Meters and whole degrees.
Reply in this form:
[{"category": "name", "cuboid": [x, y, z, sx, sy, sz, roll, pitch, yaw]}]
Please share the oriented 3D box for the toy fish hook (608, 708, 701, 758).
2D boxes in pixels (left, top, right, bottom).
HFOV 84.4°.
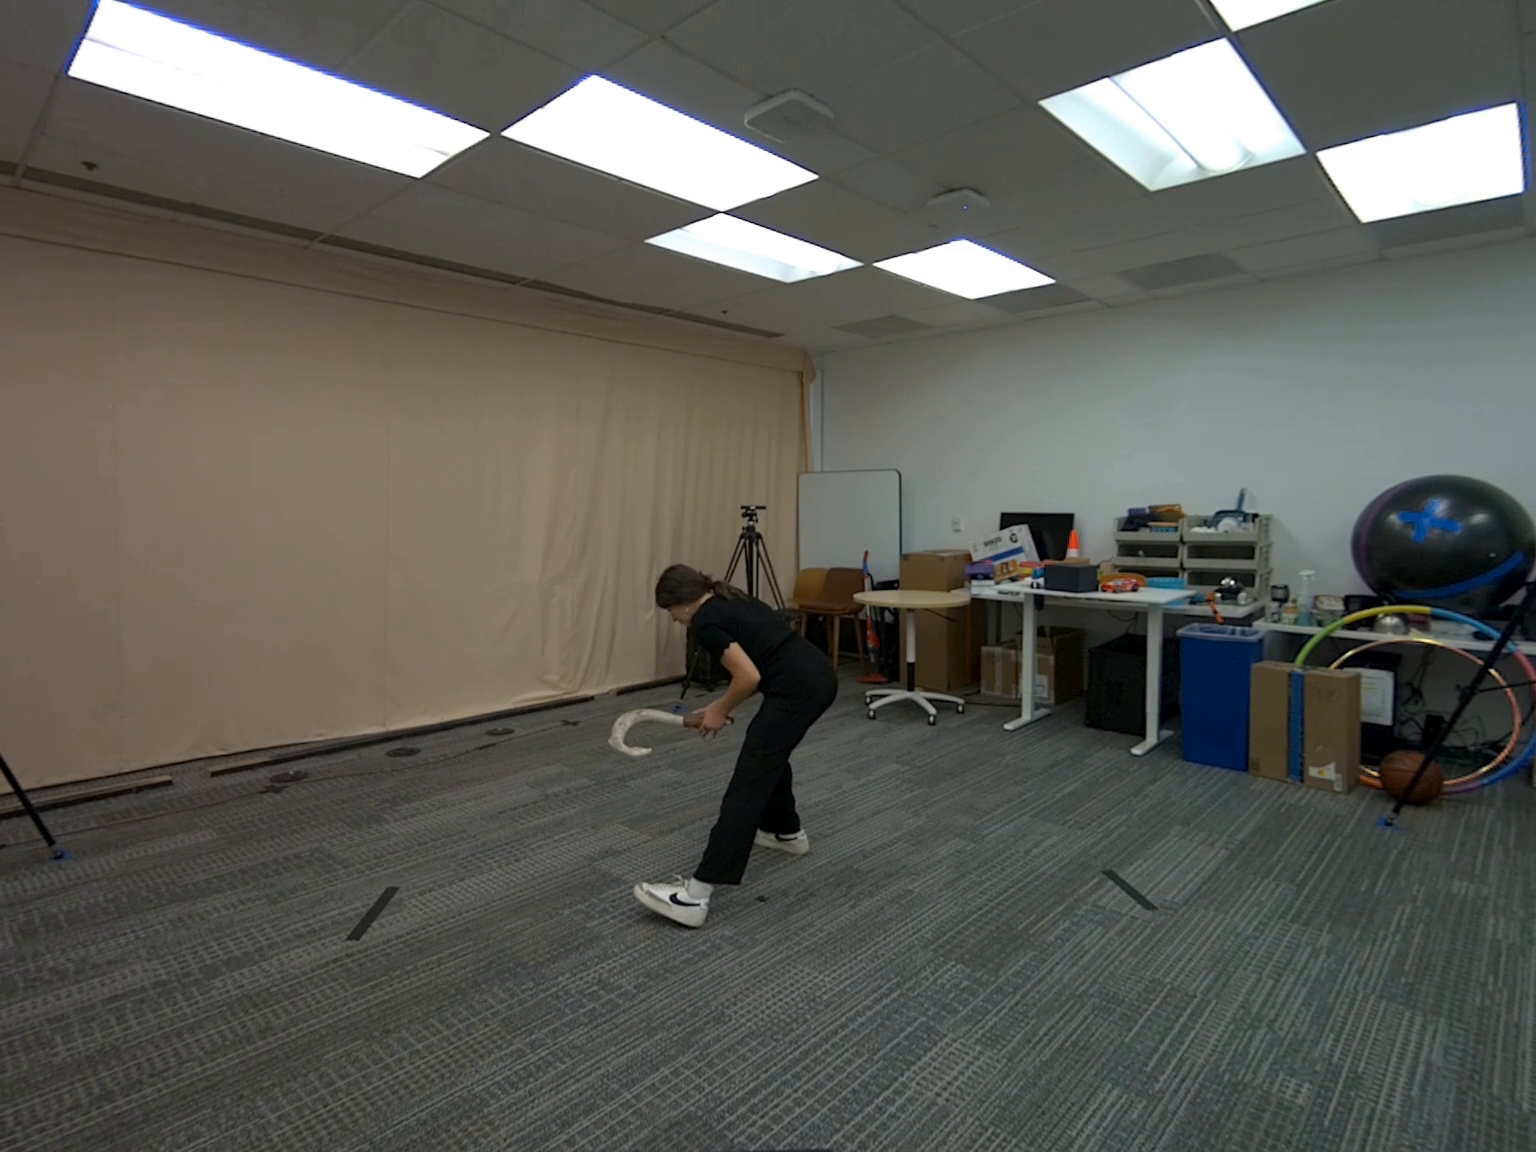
[{"category": "toy fish hook", "cuboid": [-0.381, 0.618, 3.293, 0.515, 0.047, 0.227, -6, 45, 17]}]
